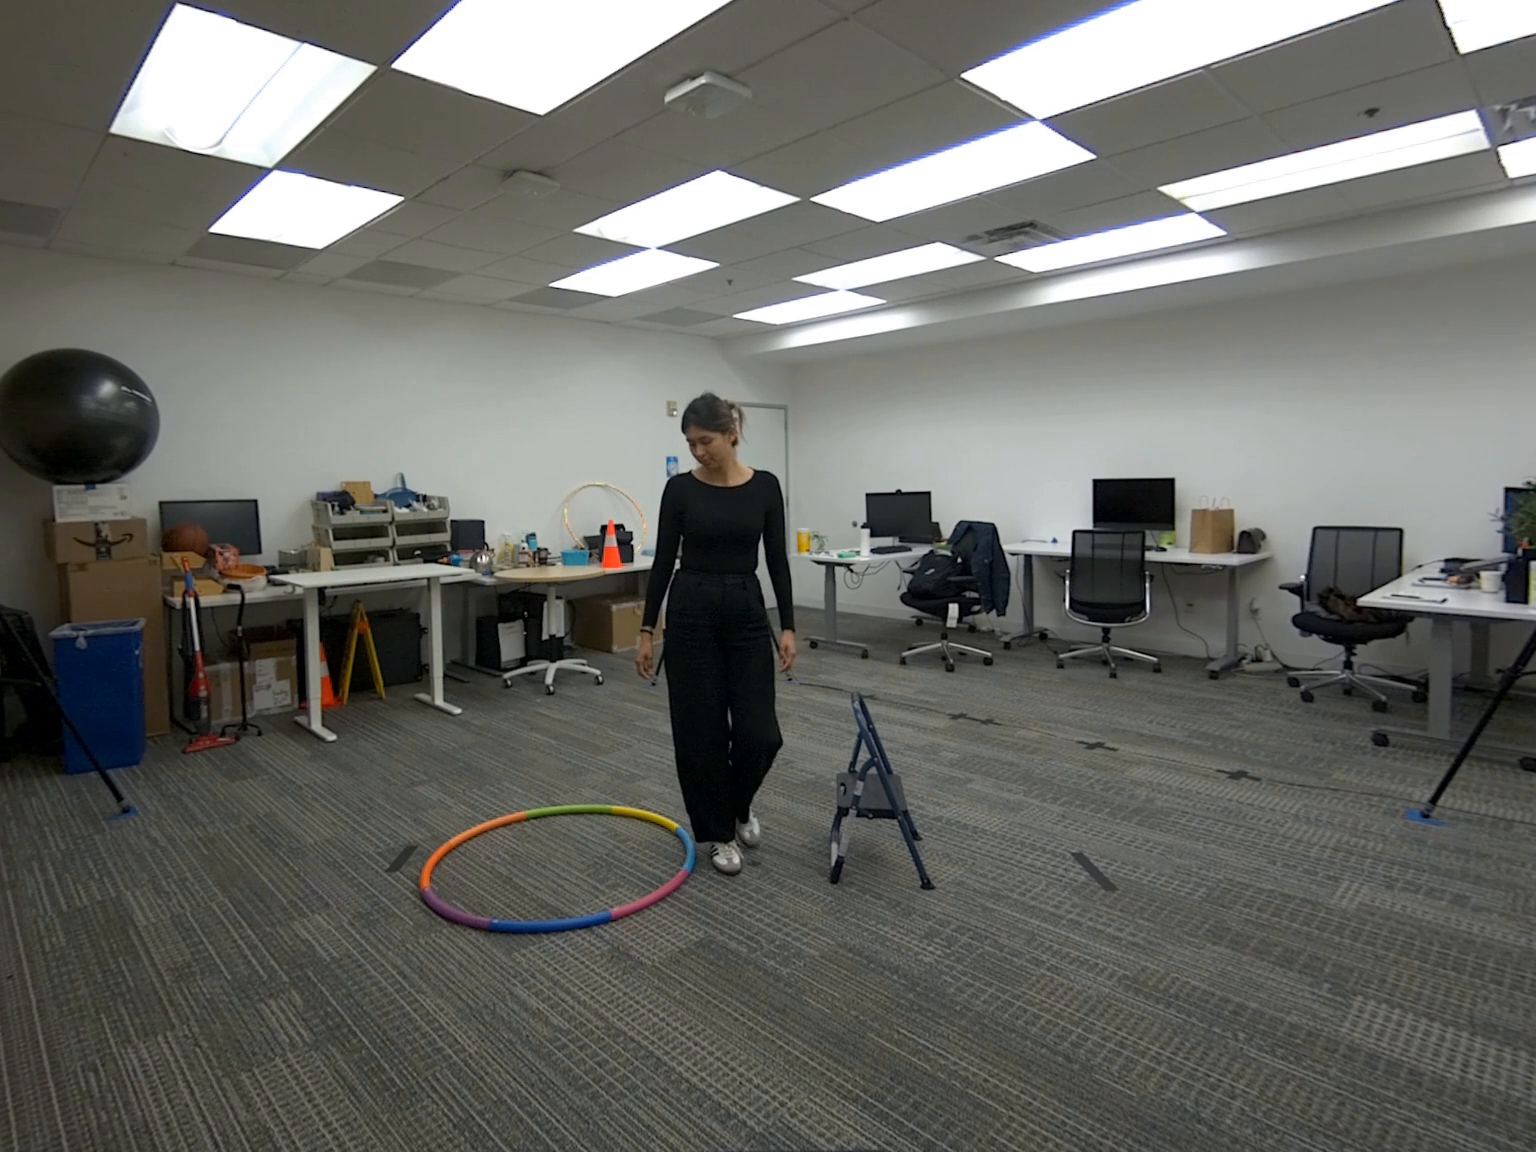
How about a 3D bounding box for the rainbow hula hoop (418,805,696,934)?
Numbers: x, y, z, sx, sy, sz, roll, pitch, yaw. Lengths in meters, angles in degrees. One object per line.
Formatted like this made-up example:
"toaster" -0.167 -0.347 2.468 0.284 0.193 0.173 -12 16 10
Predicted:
"rainbow hula hoop" -0.748 1.021 3.131 0.978 0.035 0.985 -1 7 -2
